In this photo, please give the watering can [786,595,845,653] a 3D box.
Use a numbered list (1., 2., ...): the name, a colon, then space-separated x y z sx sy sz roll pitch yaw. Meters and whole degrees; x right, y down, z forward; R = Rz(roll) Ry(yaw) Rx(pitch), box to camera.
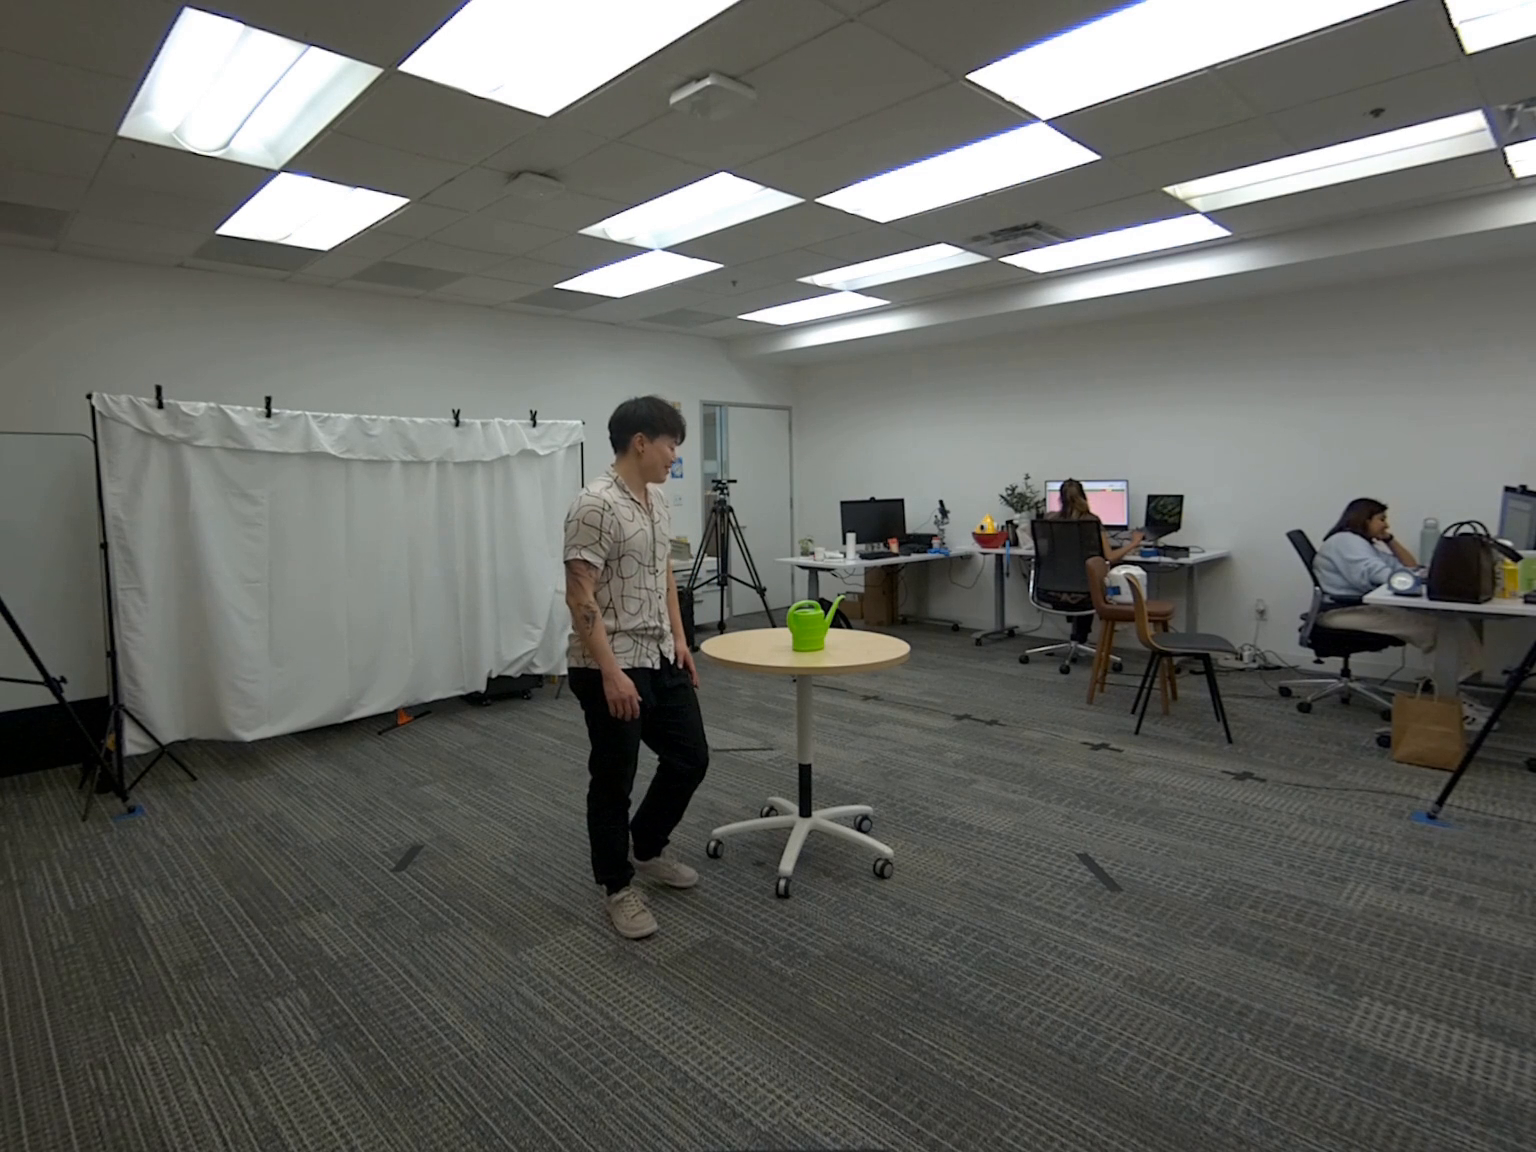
1. watering can: 0.184 0.173 3.087 0.273 0.176 0.100 -6 8 -24
